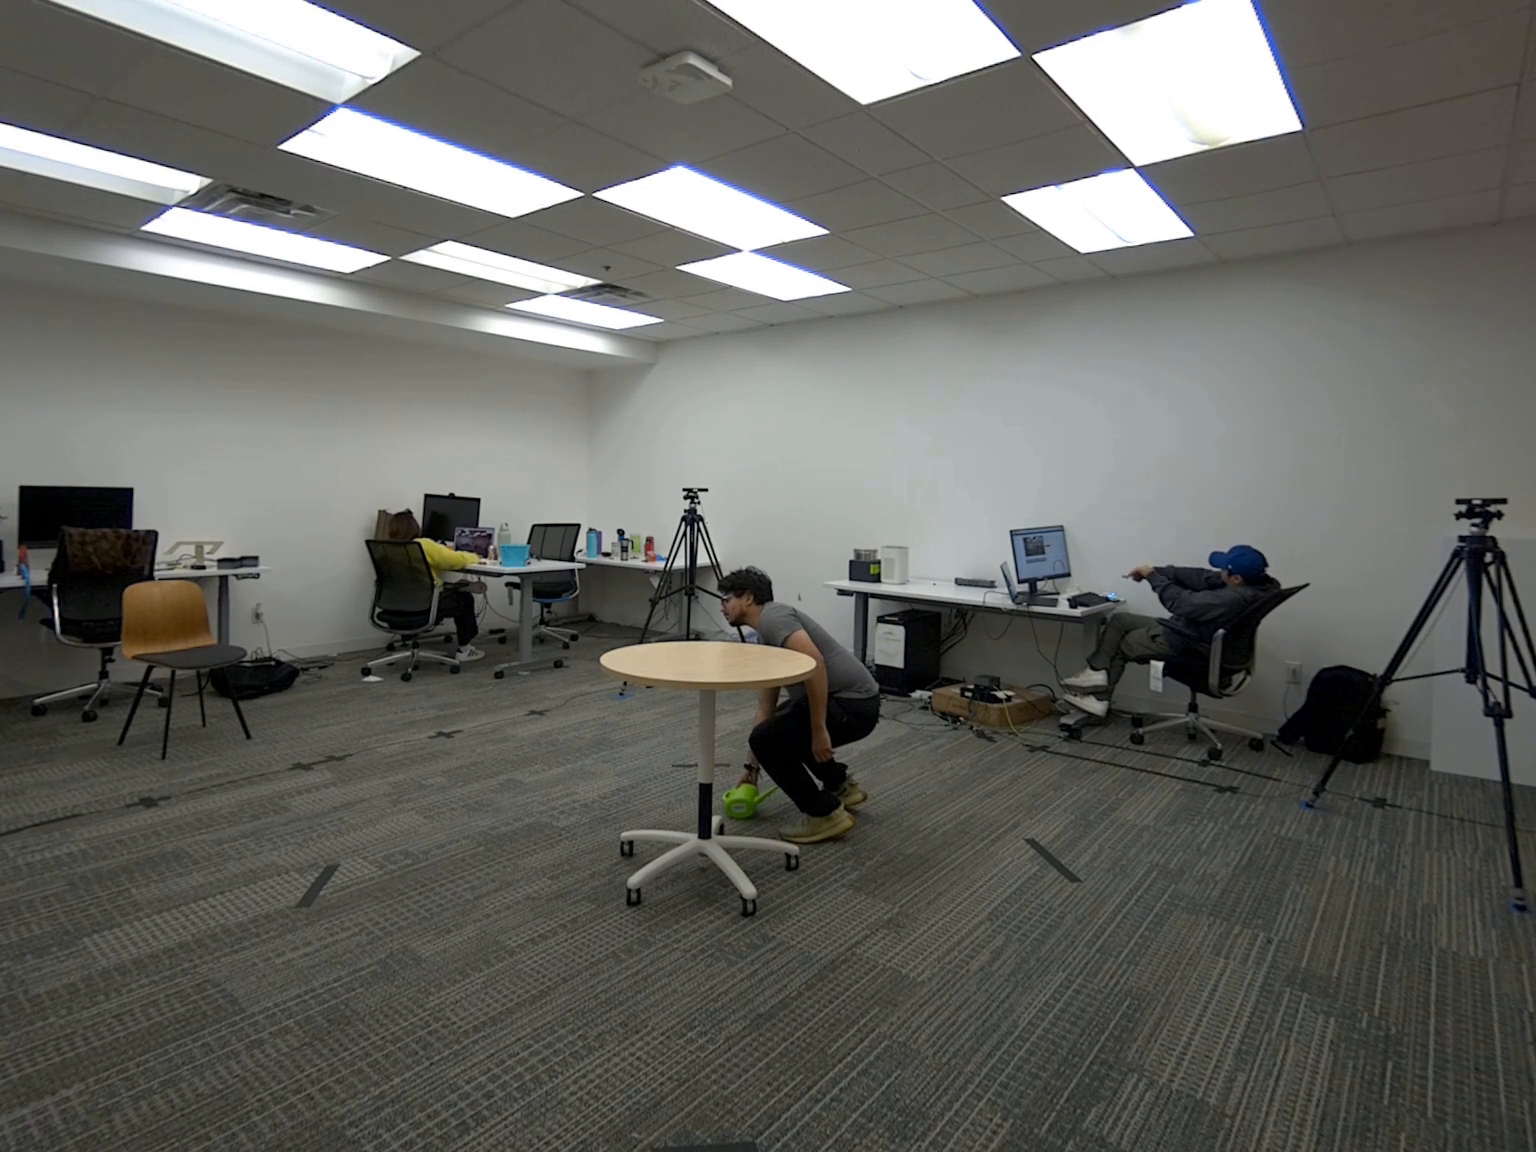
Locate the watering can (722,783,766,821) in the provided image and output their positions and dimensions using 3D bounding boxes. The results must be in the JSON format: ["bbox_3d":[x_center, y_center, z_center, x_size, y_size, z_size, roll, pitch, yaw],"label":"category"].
[{"bbox_3d":[-0.082,0.944,3.656,0.280,0.097,0.177,-23,9,11],"label":"watering can"}]
